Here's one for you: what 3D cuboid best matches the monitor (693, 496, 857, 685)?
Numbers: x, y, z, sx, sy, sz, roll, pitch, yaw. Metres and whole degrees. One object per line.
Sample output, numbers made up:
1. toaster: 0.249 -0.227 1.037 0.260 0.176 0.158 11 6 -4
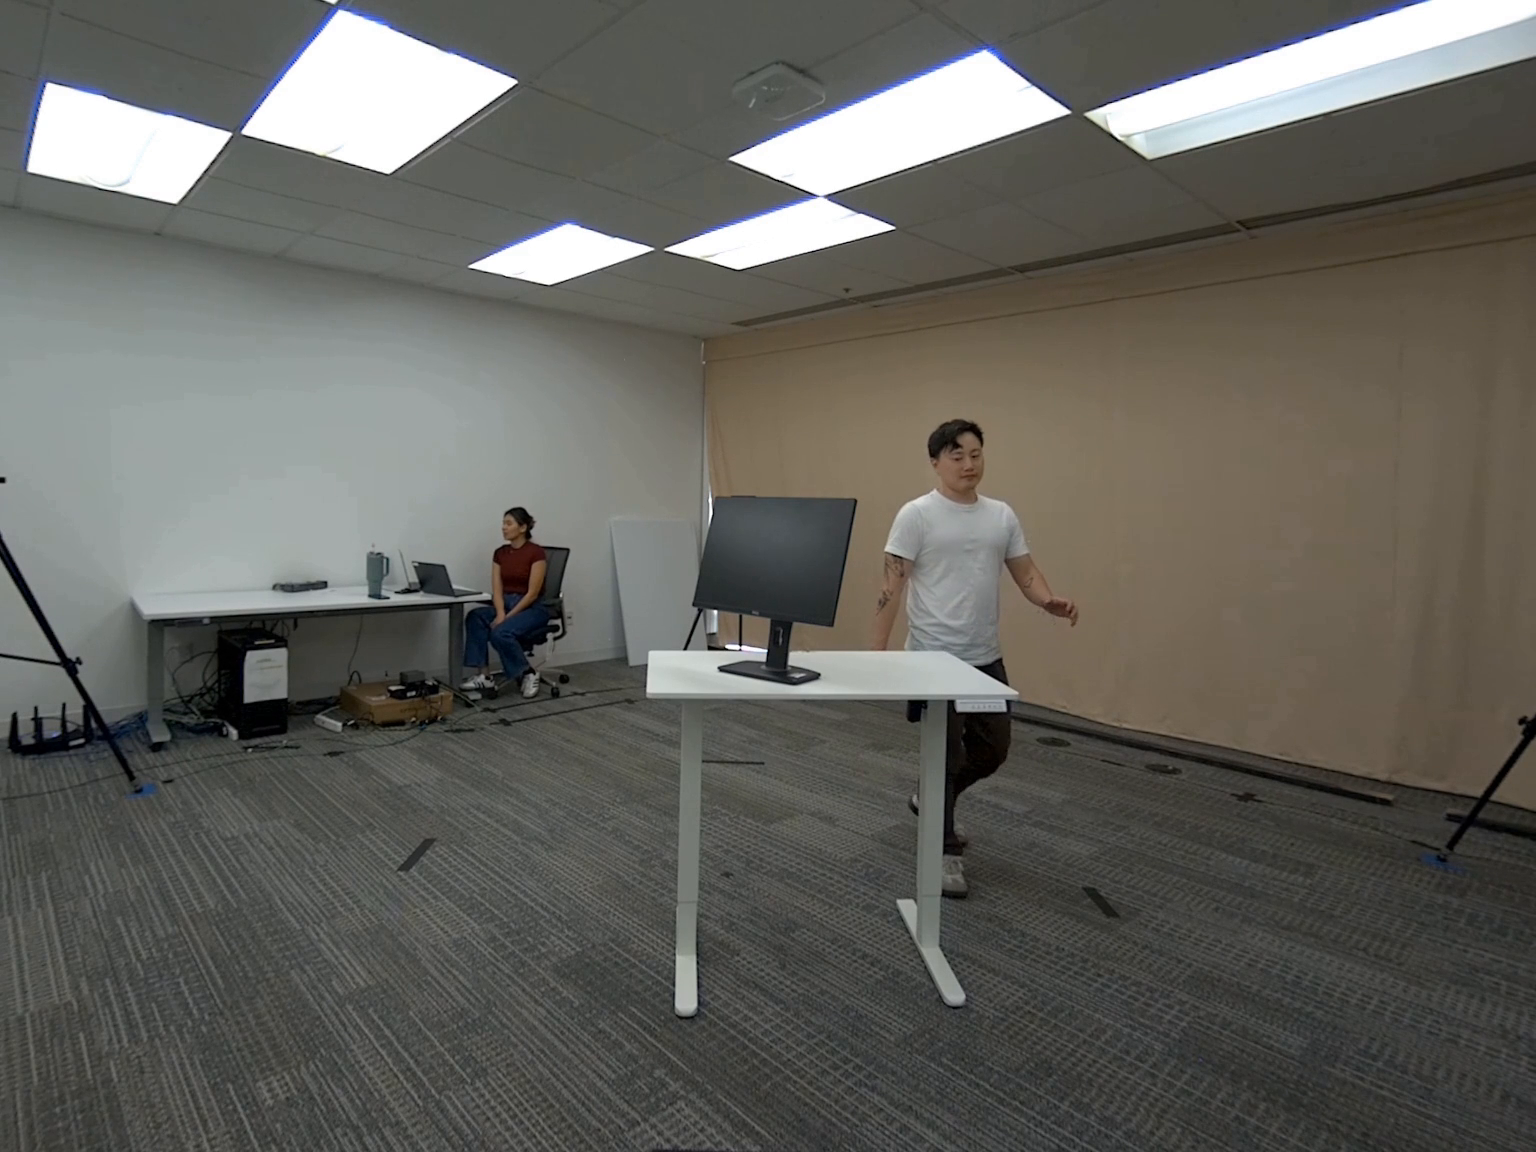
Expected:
1. monitor: 0.018 0.036 2.431 0.553 0.522 0.182 5 2 41
